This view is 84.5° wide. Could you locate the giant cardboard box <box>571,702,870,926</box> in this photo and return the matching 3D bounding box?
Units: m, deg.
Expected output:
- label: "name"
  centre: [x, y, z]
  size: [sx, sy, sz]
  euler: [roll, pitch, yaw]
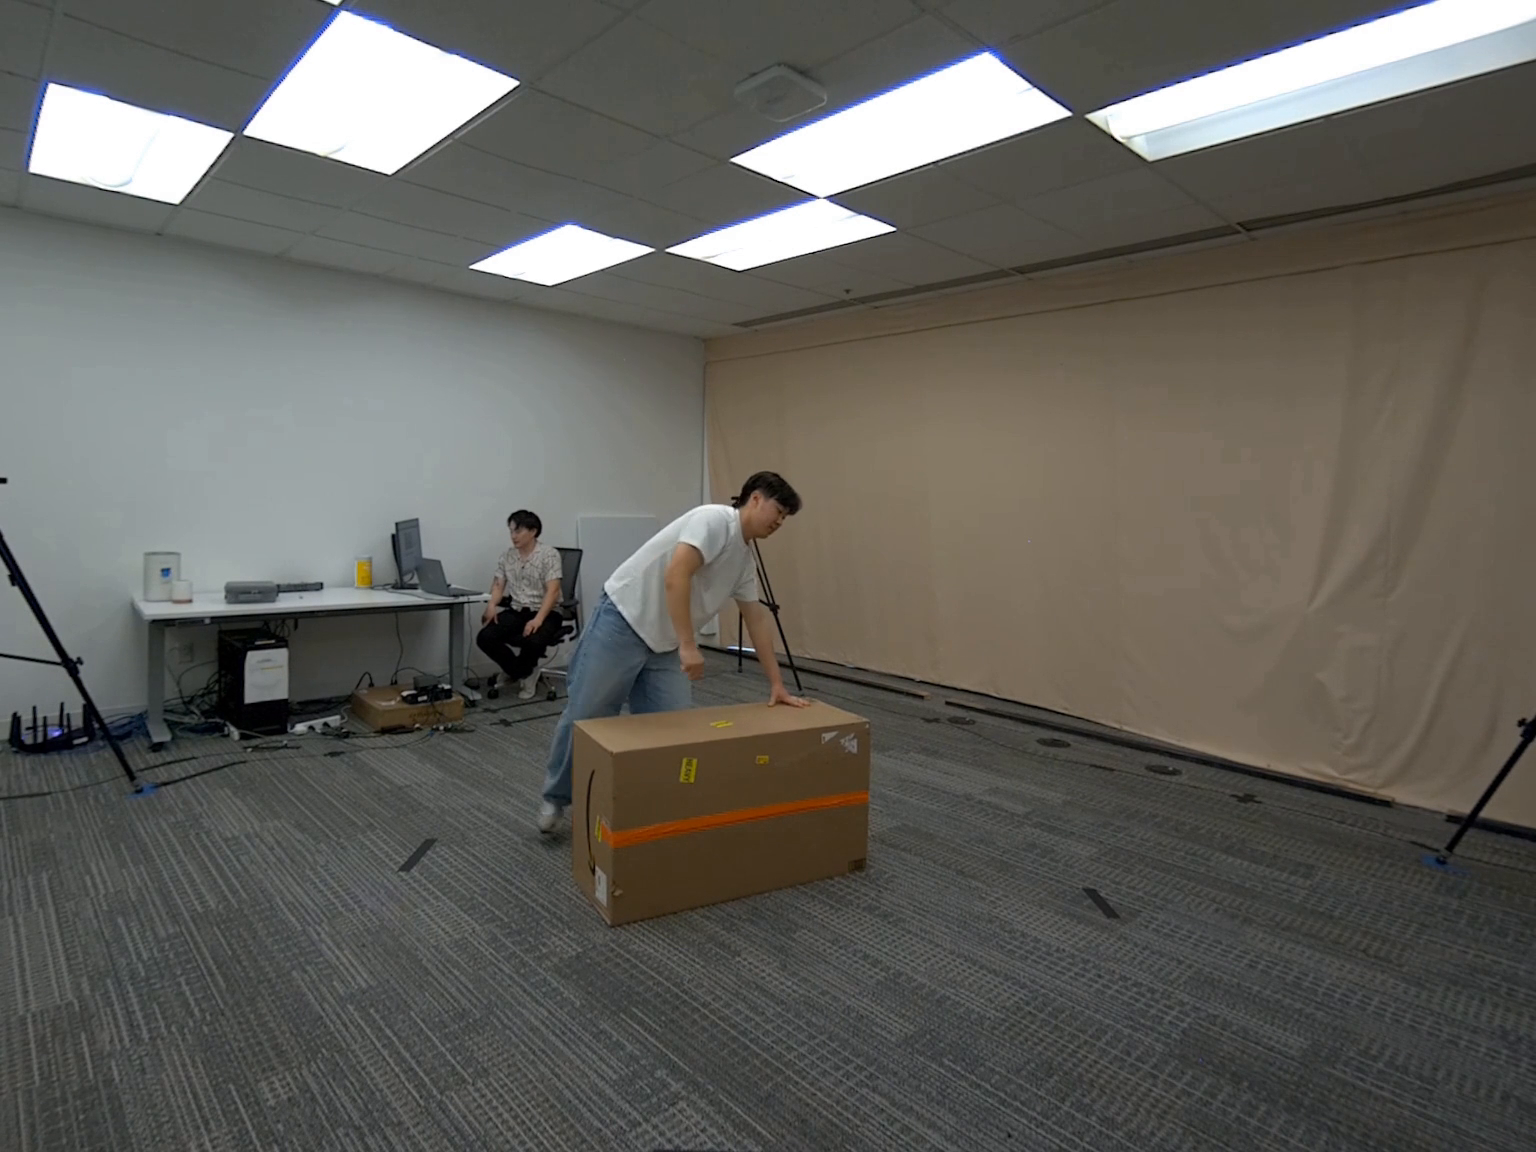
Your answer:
- label: "giant cardboard box"
  centre: [-0.169, 0.819, 3.105]
  size: [1.006, 0.576, 0.435]
  euler: [-1, 4, -28]
